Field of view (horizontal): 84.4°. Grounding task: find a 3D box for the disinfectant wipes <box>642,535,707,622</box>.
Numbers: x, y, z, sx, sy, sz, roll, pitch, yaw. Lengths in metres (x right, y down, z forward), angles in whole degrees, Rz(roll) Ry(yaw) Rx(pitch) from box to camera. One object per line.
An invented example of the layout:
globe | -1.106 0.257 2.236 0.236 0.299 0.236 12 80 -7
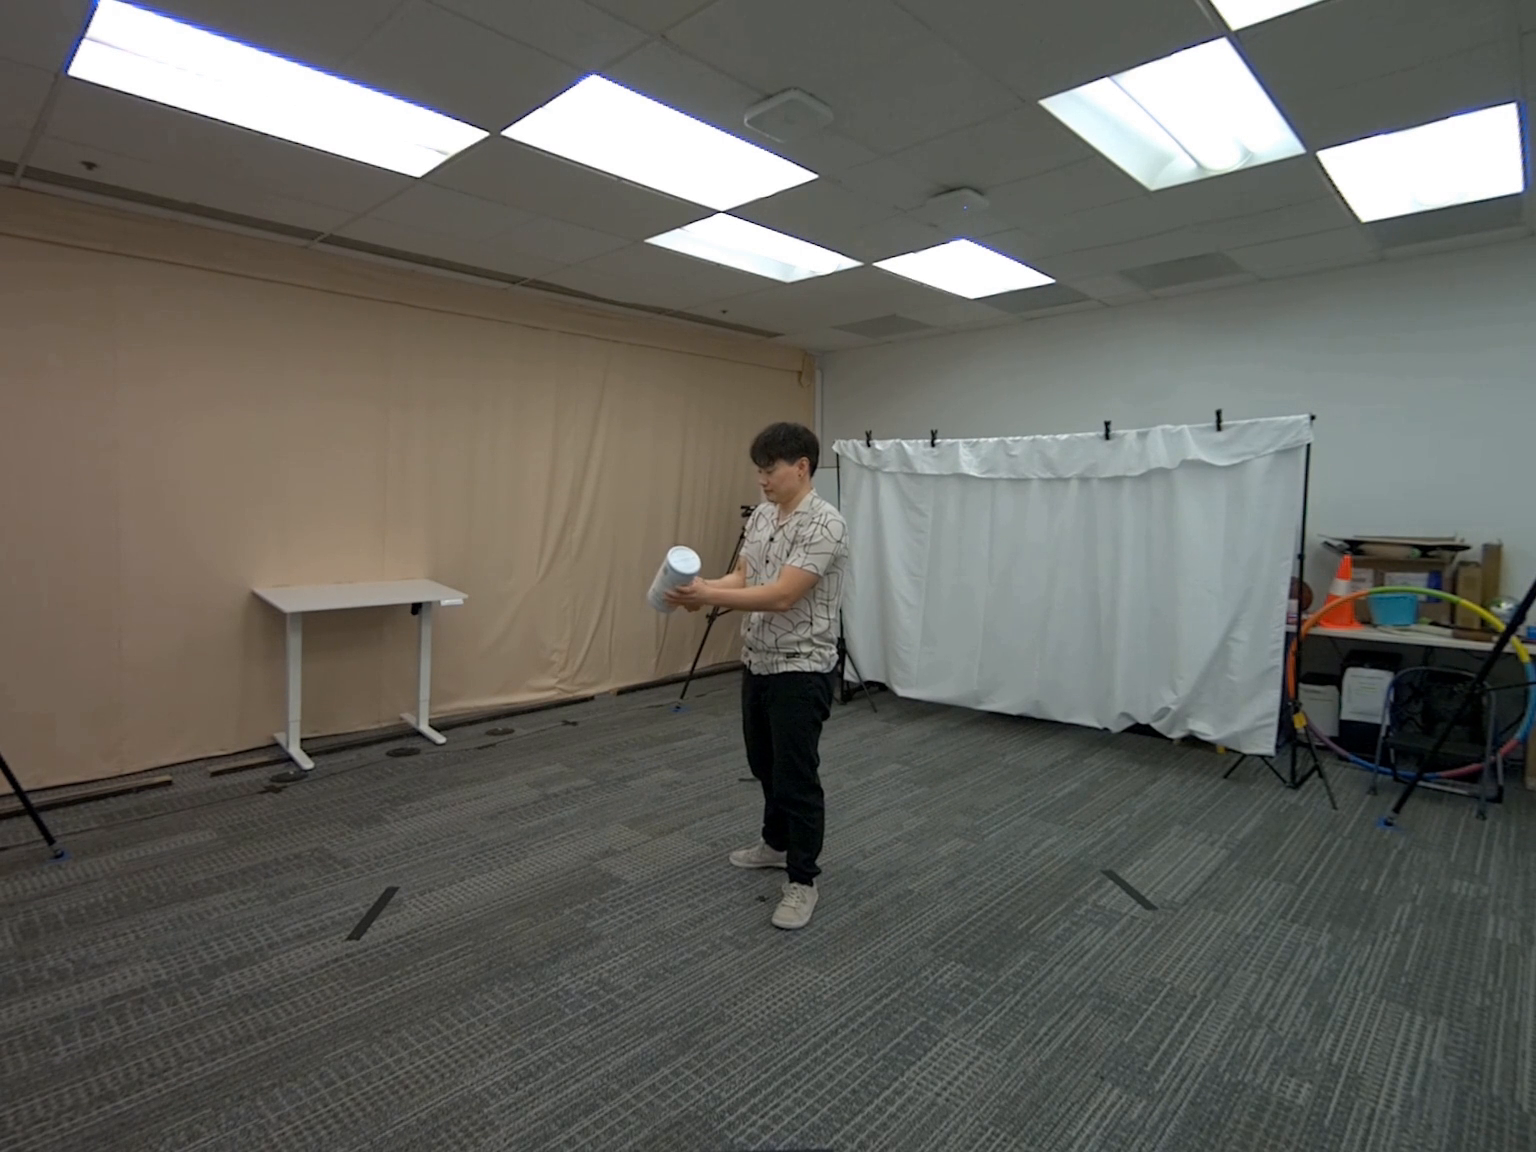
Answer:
disinfectant wipes | -0.287 0.008 2.593 0.115 0.217 0.120 20 37 -18
